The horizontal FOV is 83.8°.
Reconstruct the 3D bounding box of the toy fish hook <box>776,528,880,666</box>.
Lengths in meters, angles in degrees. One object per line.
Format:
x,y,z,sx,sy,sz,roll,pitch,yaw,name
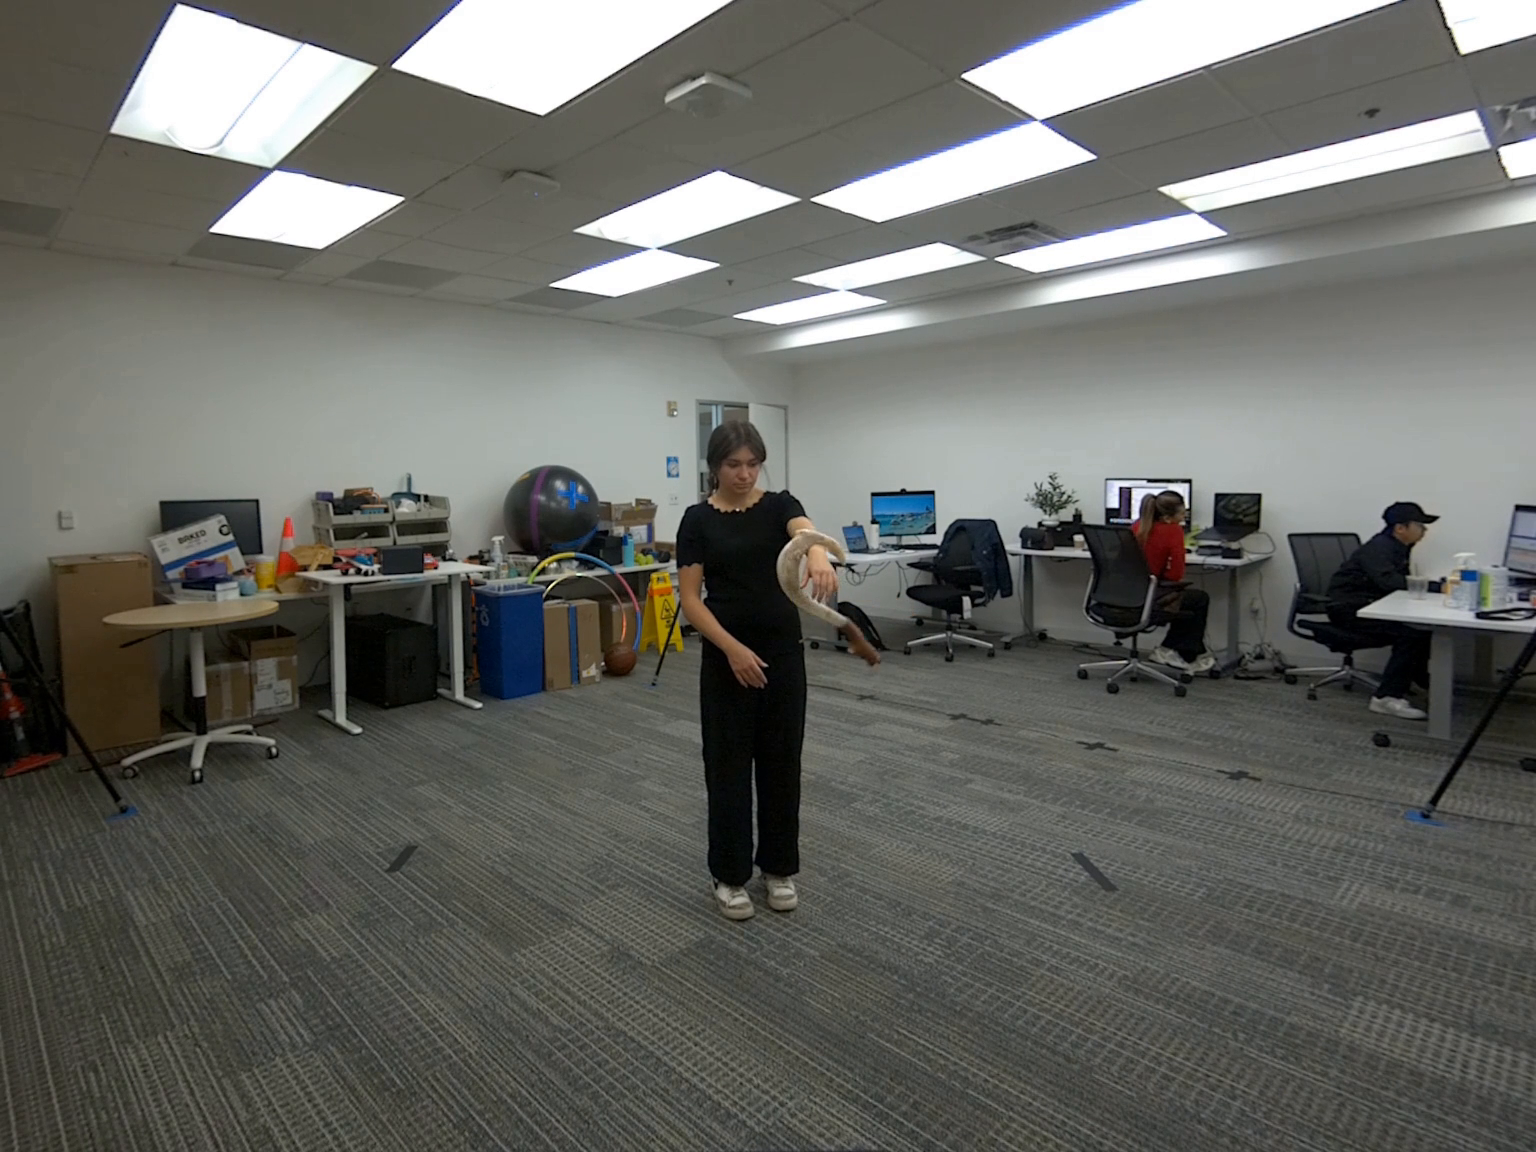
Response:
0.214,0.058,2.487,0.491,0.225,0.050,46,-13,-27,toy fish hook
